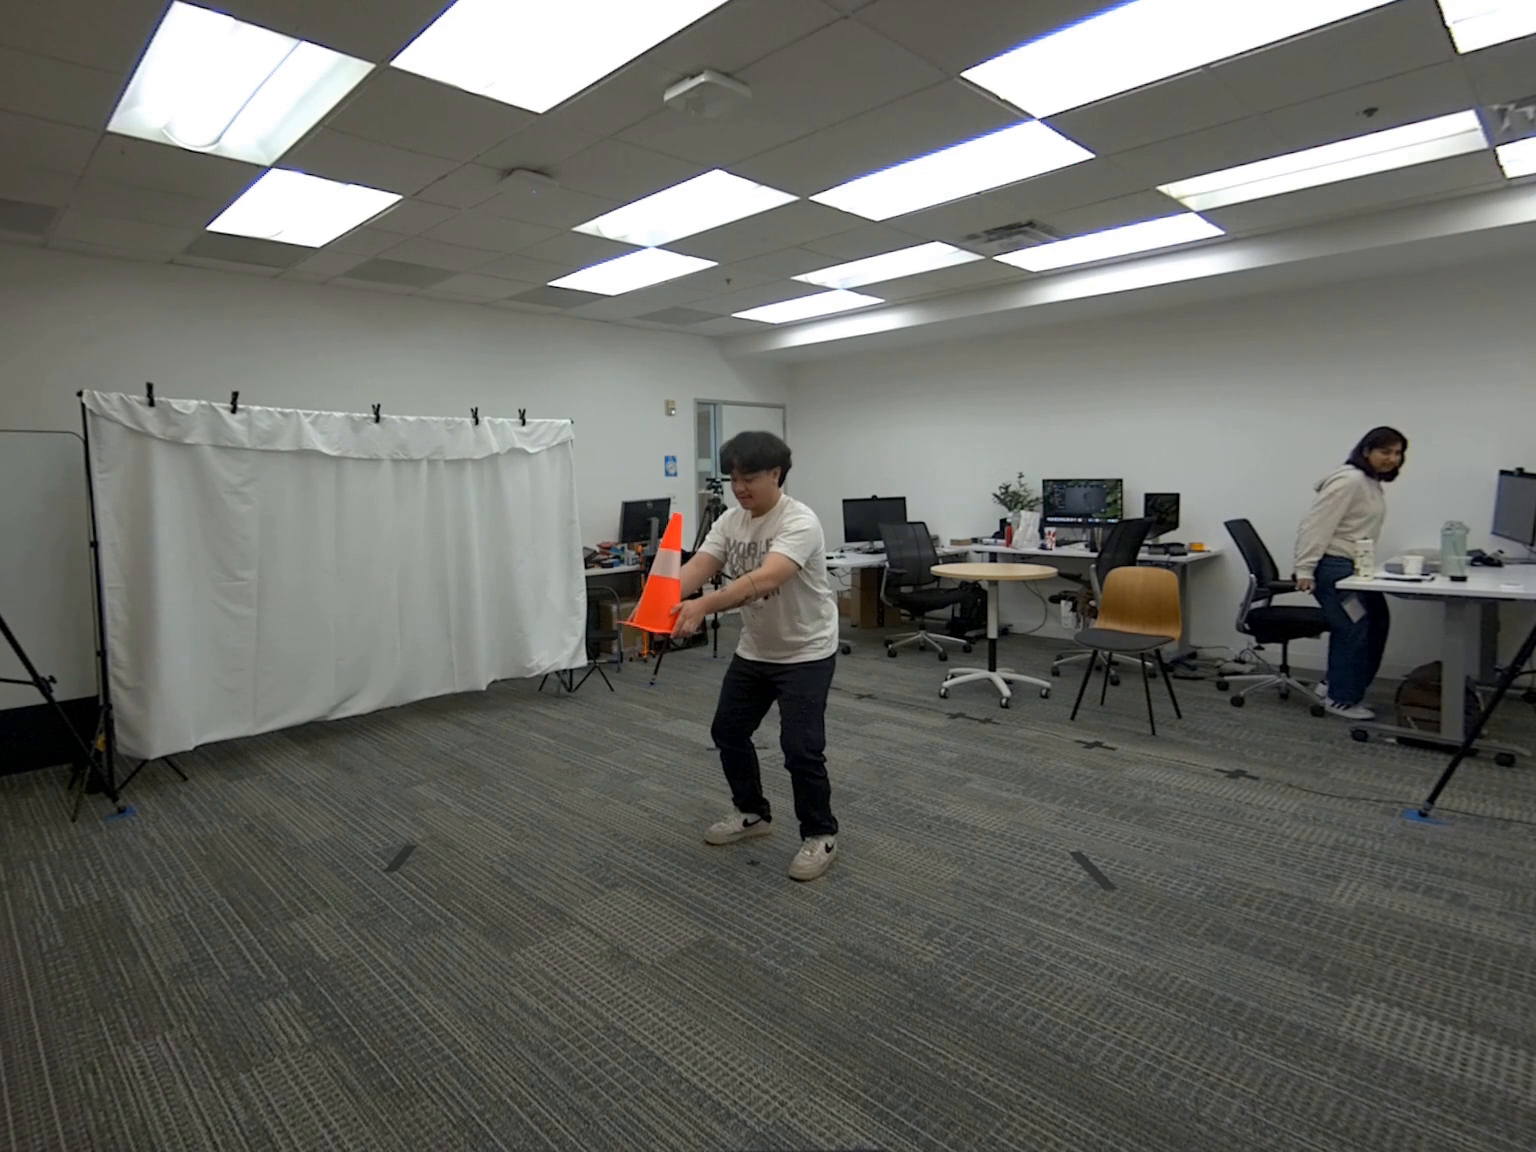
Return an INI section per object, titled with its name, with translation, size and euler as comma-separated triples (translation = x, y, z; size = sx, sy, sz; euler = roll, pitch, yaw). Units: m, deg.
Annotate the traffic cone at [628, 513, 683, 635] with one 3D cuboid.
[traffic cone]
translation = -0.328, -0.015, 2.769
size = 0.210, 0.384, 0.198
euler = 7, -3, 26
